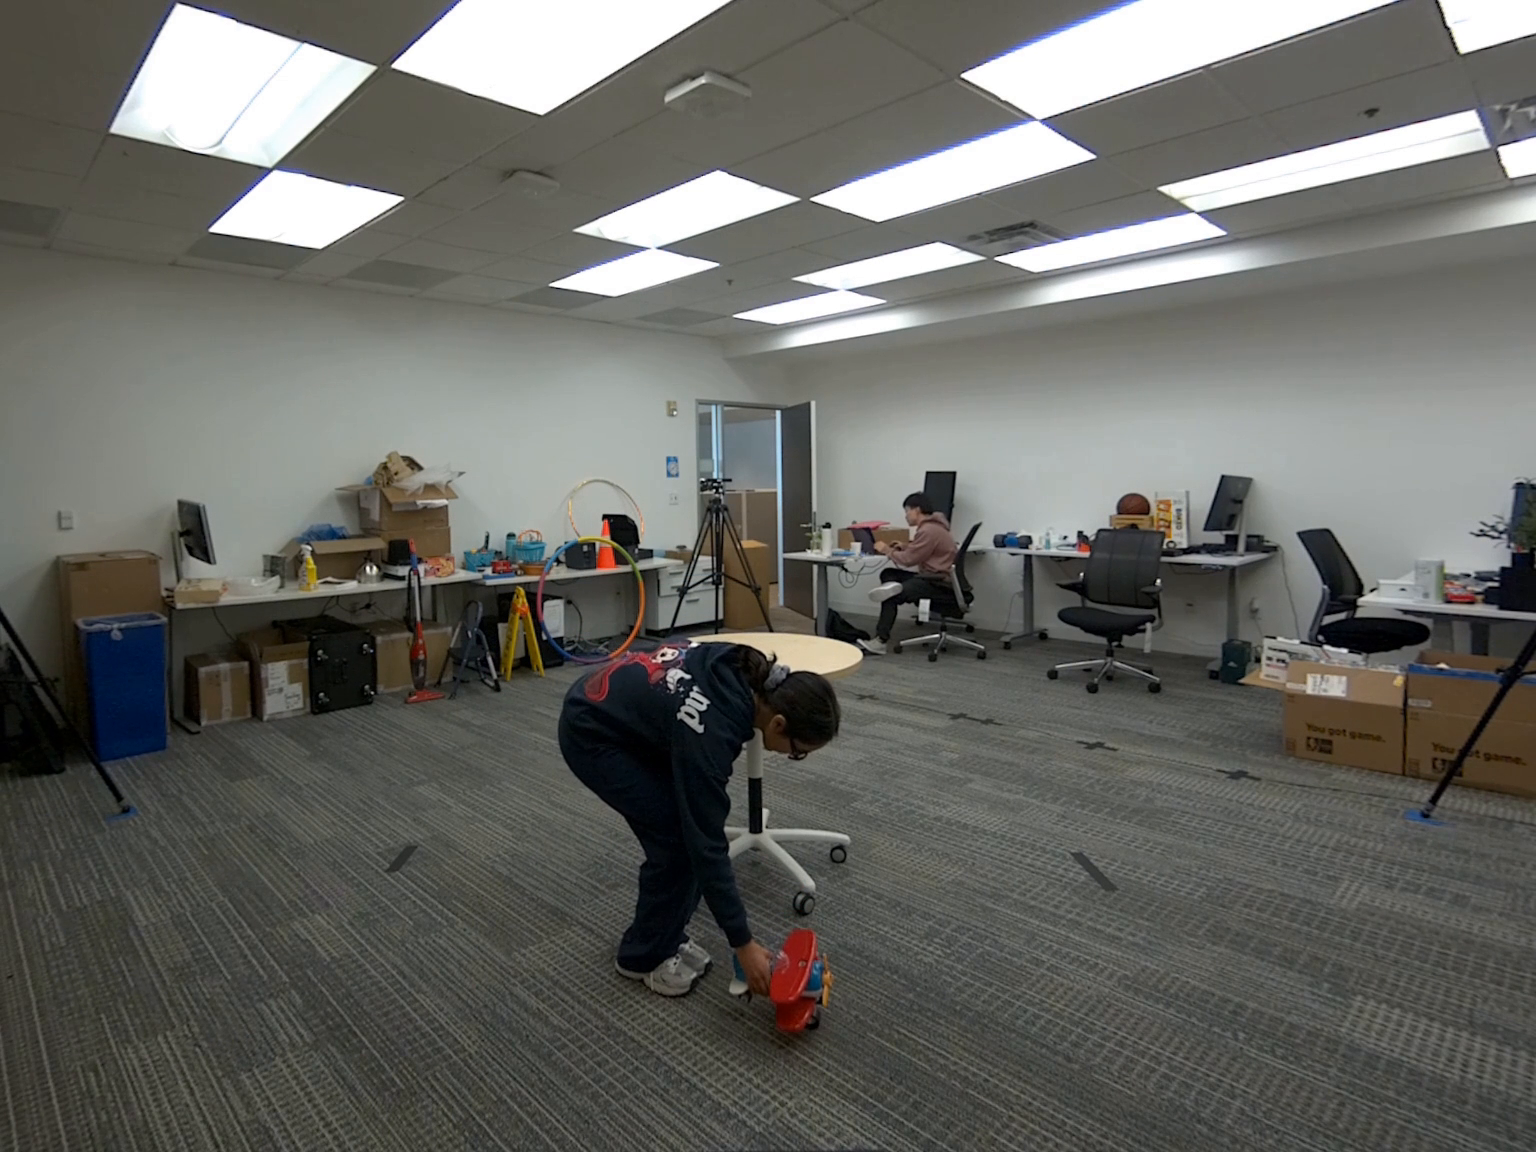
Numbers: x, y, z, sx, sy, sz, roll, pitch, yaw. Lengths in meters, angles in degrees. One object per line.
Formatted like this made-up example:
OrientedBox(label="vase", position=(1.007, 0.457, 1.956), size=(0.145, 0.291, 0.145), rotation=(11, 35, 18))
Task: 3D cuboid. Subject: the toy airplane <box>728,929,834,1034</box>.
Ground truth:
OrientedBox(label="toy airplane", position=(0.034, 1.051, 2.169), size=(0.256, 0.154, 0.257), rotation=(-2, 18, -12))
